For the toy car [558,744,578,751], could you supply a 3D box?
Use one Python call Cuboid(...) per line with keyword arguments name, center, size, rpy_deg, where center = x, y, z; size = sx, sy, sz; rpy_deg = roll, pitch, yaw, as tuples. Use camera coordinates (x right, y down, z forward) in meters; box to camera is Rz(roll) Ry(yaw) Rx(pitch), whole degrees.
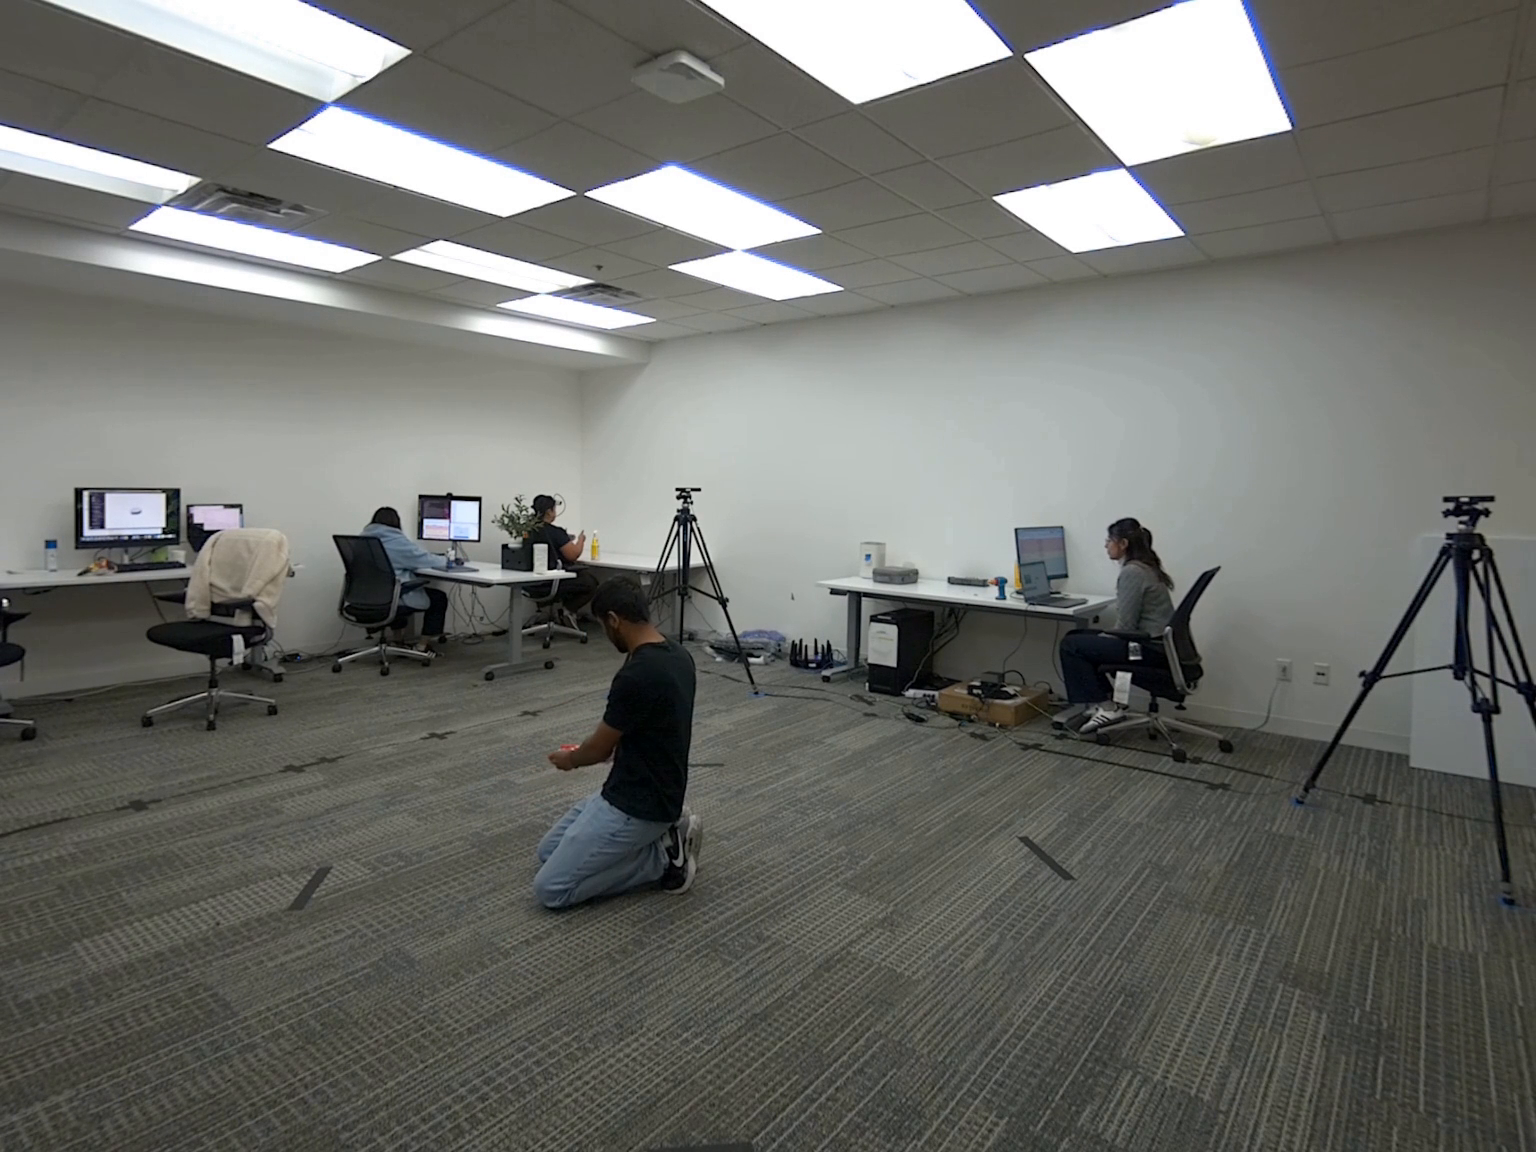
Cuboid(name="toy car", center=(-0.761, 0.701, 3.357), size=(0.134, 0.084, 0.245), rpy_deg=(-4, -11, 39))
